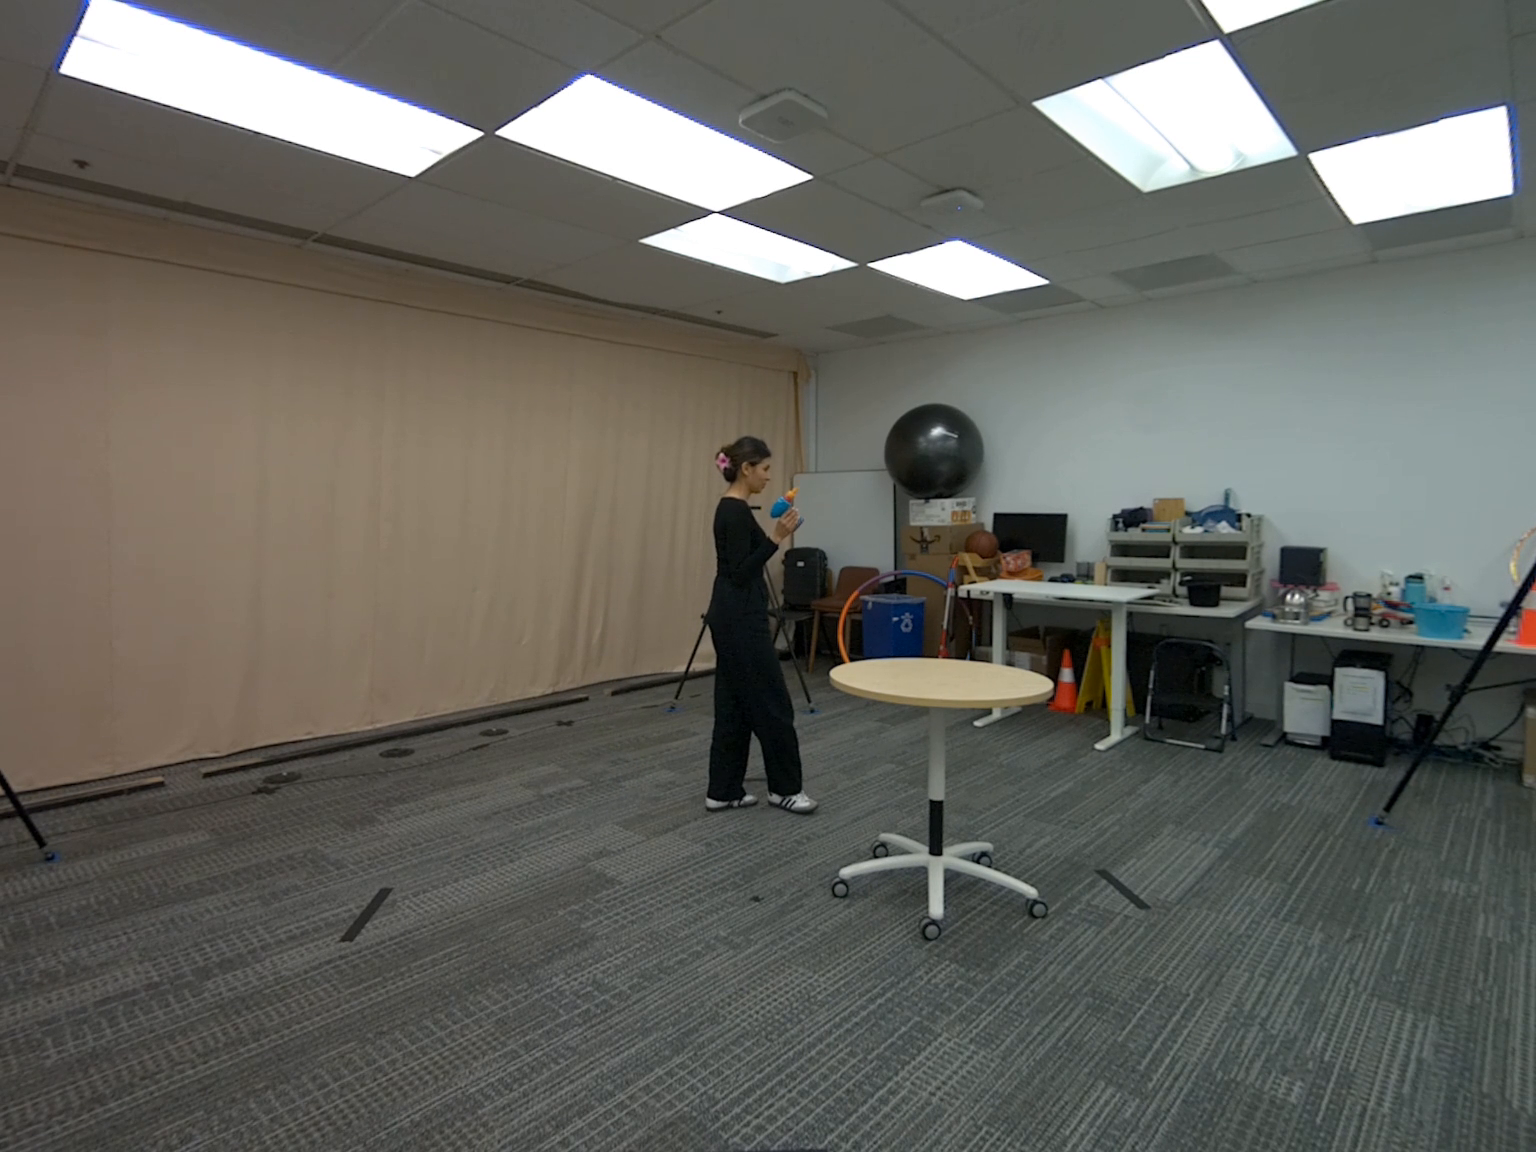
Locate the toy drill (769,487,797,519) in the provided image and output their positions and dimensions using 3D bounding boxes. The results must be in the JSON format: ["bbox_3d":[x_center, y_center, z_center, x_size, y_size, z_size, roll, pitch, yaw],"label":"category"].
[{"bbox_3d":[0.106,-0.288,3.569,0.144,0.170,0.062,38,8,-8],"label":"toy drill"}]
